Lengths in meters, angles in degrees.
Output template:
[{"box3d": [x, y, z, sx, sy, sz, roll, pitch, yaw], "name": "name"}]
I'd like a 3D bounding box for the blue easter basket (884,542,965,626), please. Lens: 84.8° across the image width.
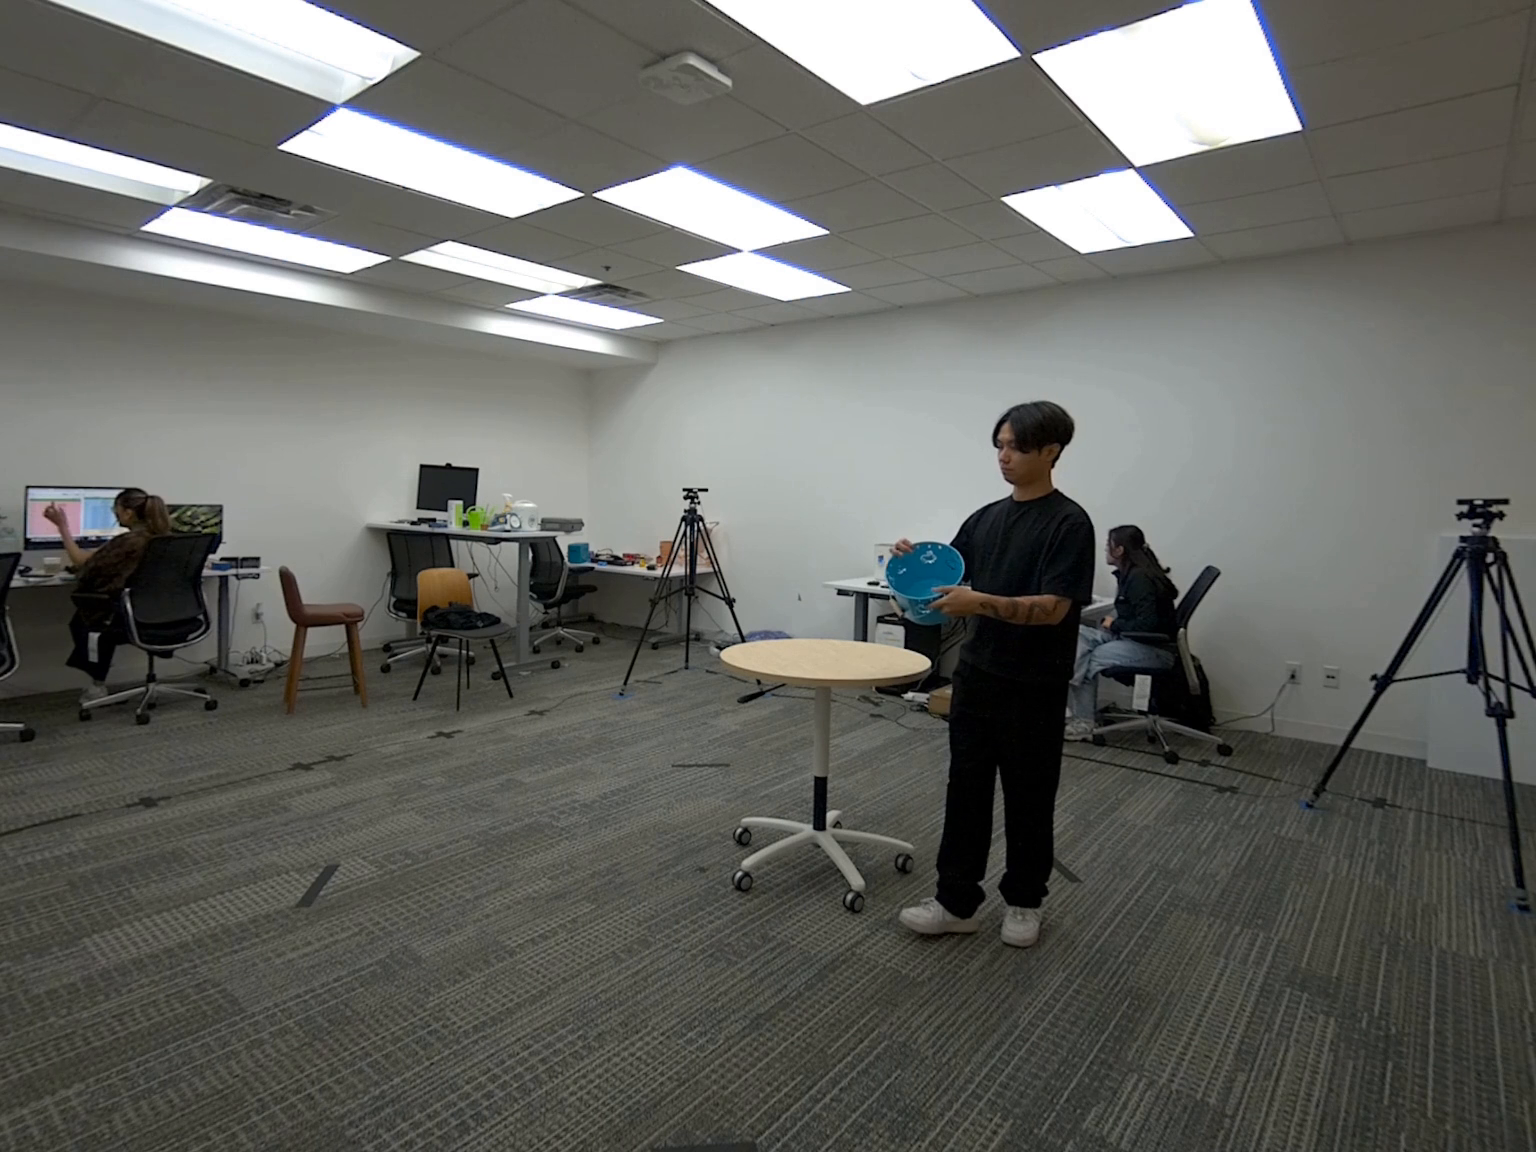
[{"box3d": [0.474, 0.027, 2.580, 0.246, 0.150, 0.251, -12, 43, 9], "name": "blue easter basket"}]
